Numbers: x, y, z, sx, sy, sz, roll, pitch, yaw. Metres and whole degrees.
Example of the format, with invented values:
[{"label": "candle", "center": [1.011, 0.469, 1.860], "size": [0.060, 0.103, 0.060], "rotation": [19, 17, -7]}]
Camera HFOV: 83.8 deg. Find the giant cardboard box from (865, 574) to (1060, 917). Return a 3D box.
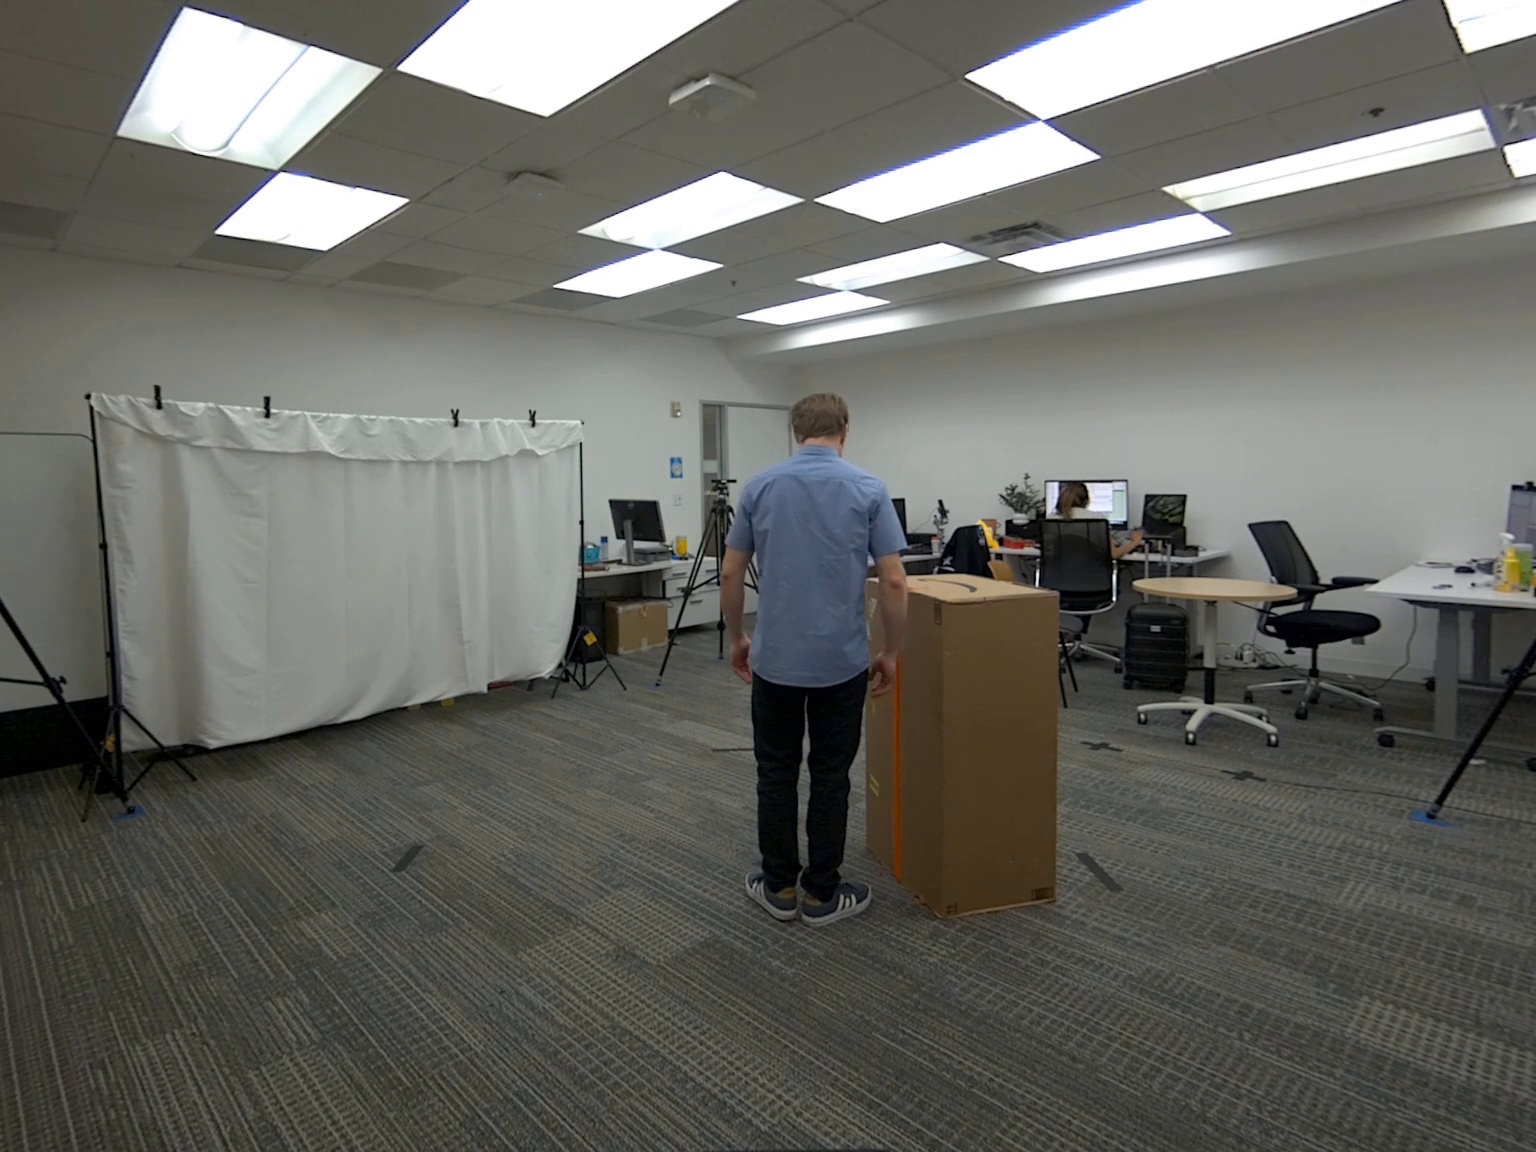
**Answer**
[{"label": "giant cardboard box", "center": [0.654, 0.542, 2.984], "size": [0.440, 1.023, 0.595], "rotation": [-1, 5, -18]}]
